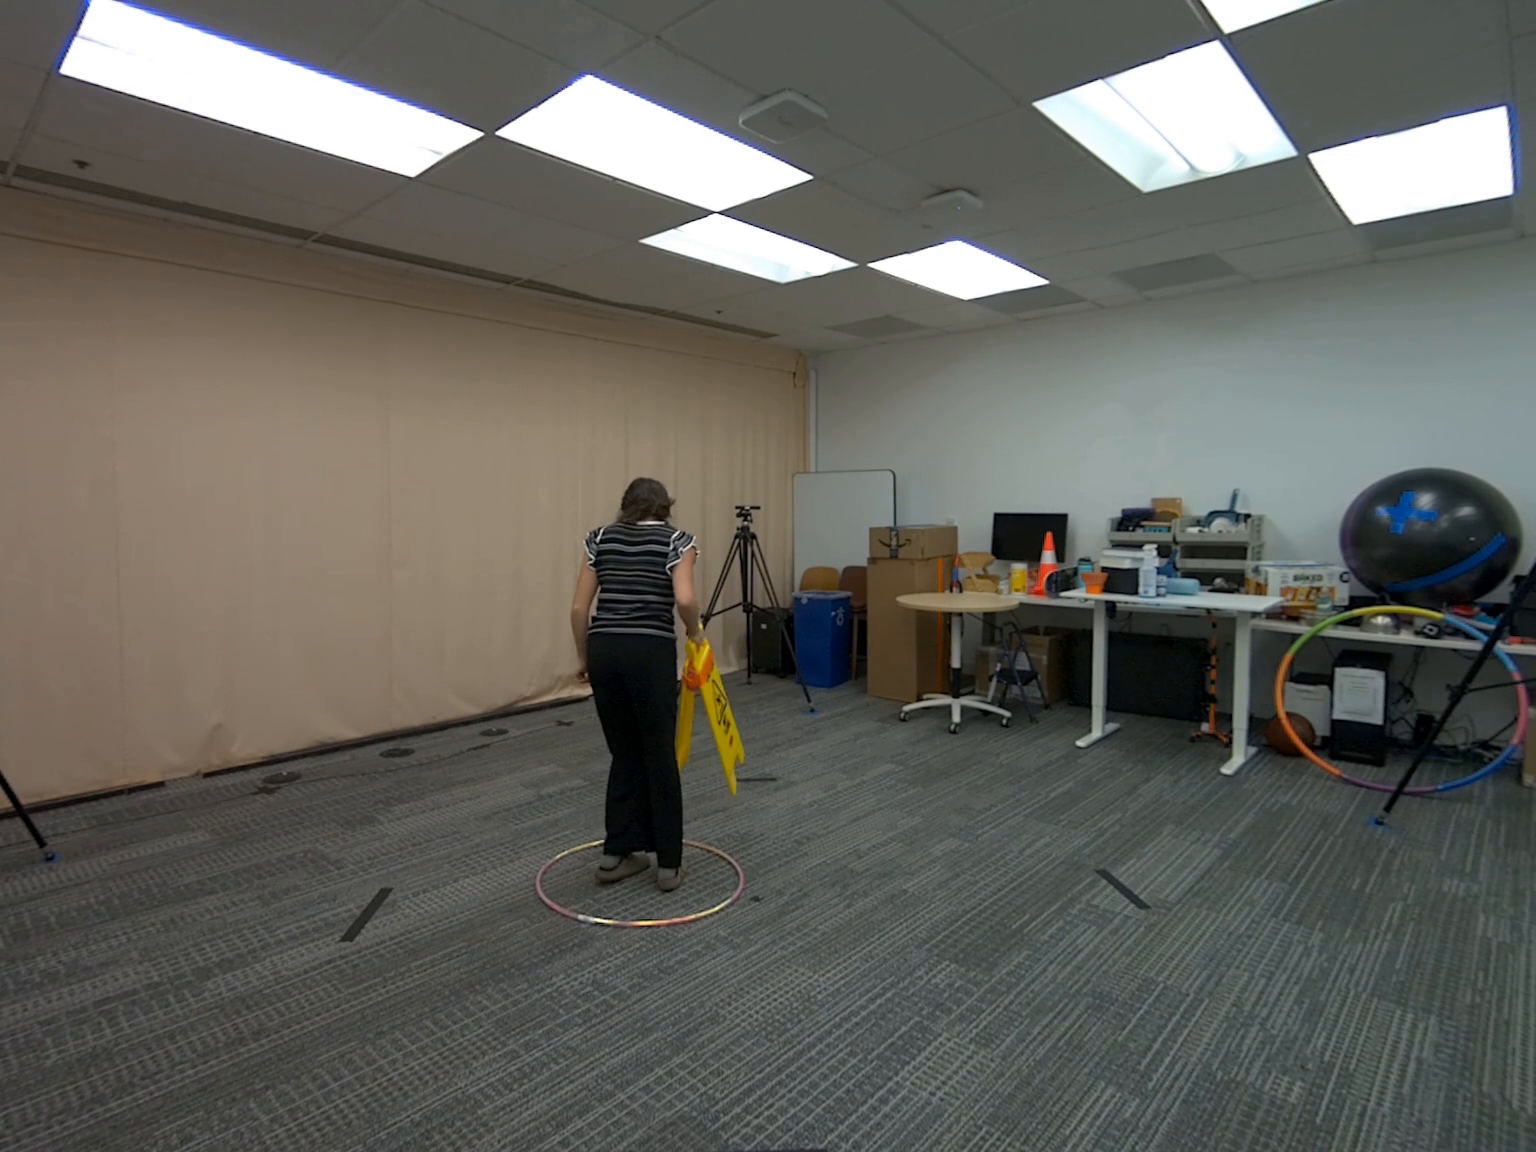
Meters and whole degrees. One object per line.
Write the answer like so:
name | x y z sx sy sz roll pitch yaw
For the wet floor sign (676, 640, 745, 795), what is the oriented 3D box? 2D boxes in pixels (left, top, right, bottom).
wet floor sign | -0.264 0.517 3.328 0.293 0.638 0.283 -1 19 9
